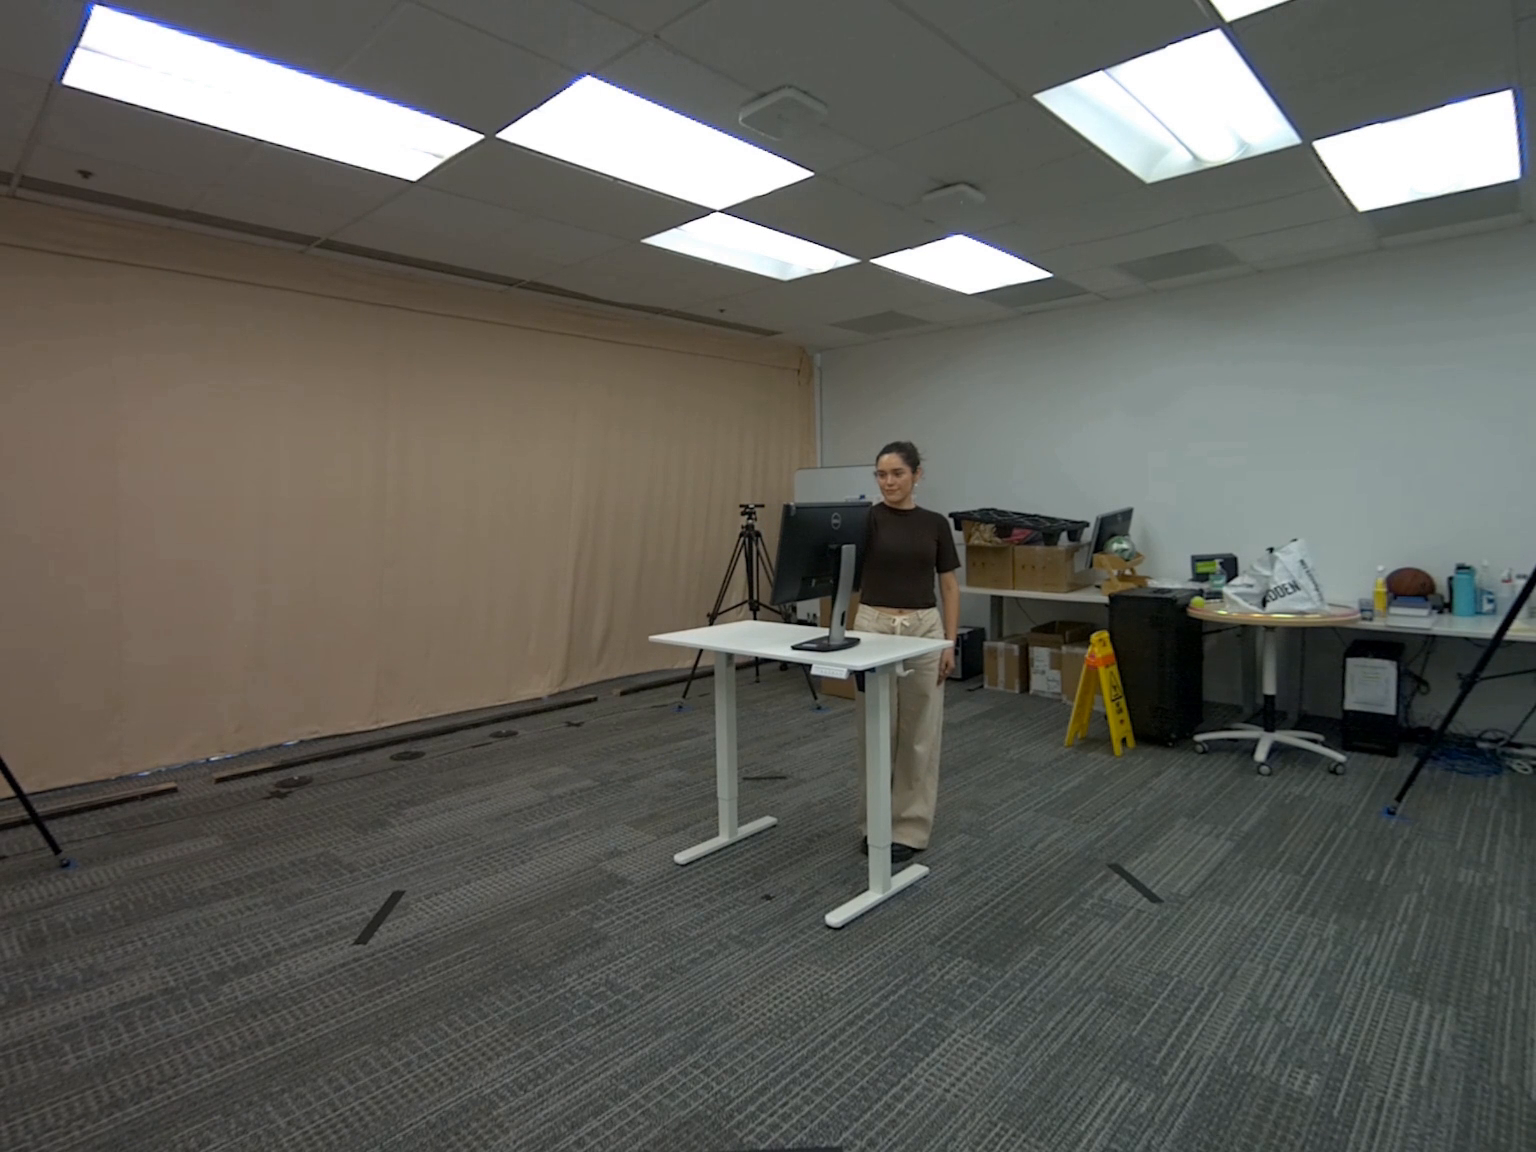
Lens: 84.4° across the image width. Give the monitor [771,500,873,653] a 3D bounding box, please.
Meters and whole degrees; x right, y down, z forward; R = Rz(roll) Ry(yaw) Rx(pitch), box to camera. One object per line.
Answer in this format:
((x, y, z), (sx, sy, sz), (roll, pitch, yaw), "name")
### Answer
((0.222, 0.000, 2.994), (0.193, 0.522, 0.523), (0, 4, 40), "monitor")
